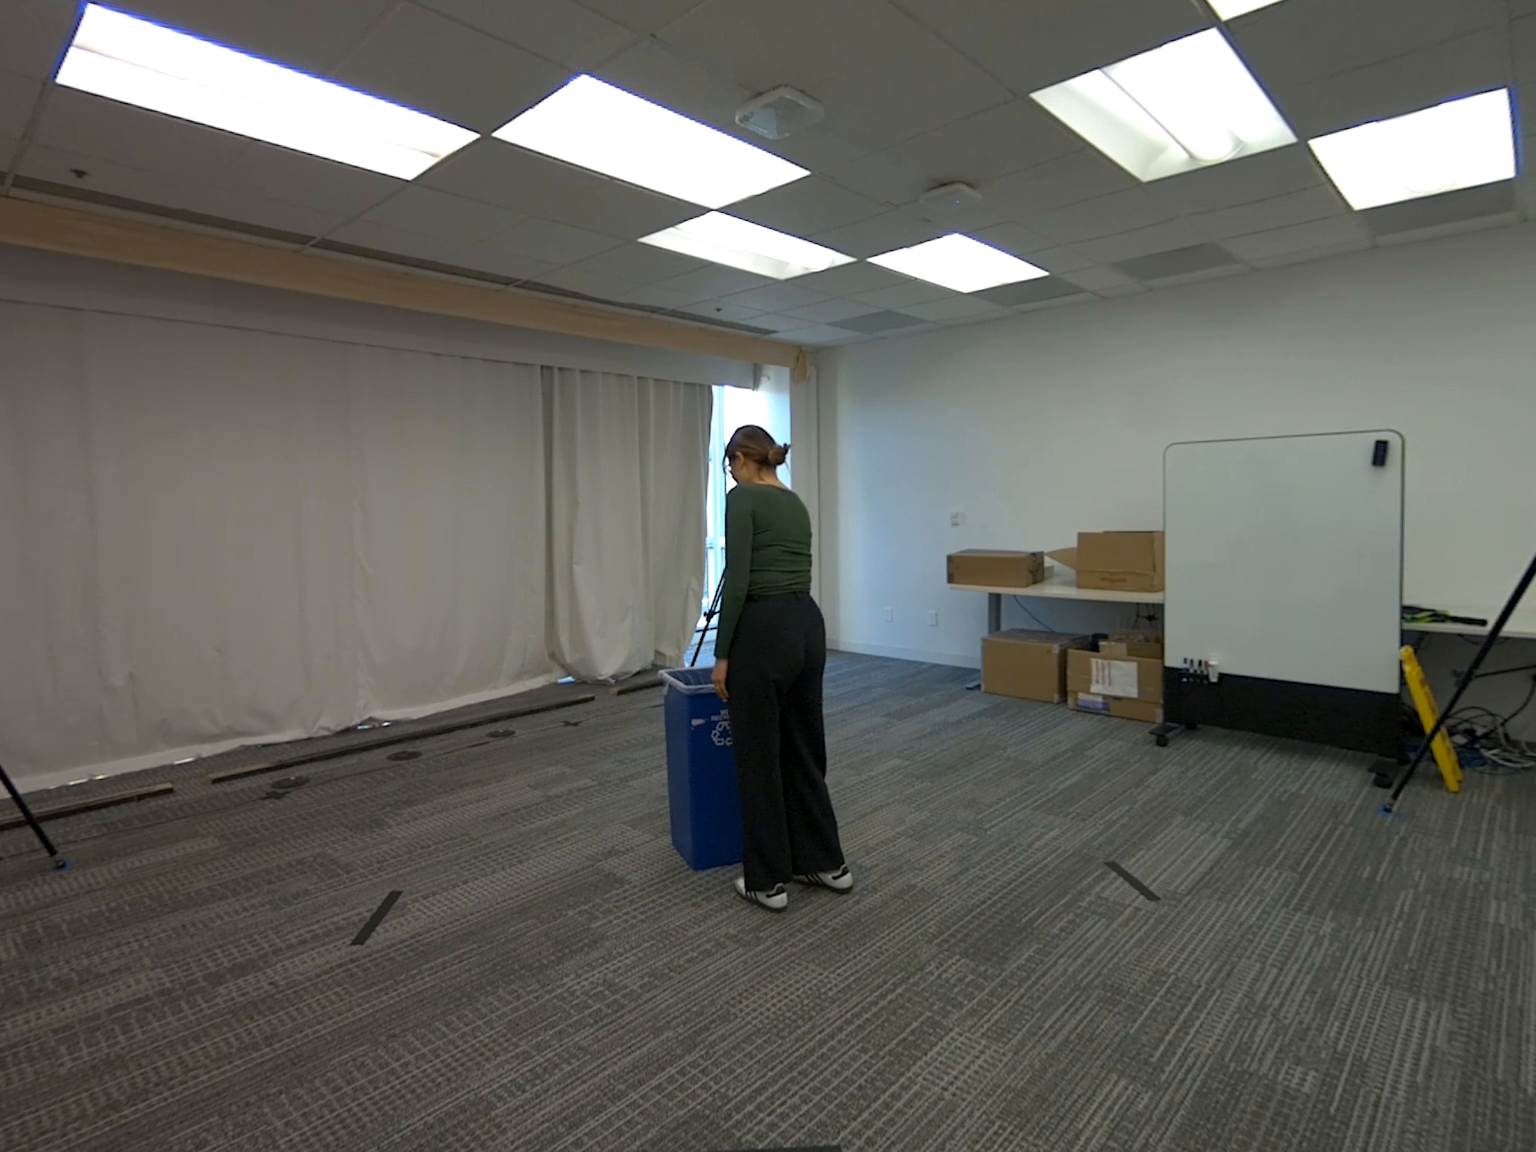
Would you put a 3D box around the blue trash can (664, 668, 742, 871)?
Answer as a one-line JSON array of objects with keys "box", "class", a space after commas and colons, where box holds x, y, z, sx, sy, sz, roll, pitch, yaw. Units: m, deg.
[{"box": [-0.216, 0.747, 3.374, 0.370, 0.712, 0.383, -2, 4, -22], "class": "blue trash can"}]
